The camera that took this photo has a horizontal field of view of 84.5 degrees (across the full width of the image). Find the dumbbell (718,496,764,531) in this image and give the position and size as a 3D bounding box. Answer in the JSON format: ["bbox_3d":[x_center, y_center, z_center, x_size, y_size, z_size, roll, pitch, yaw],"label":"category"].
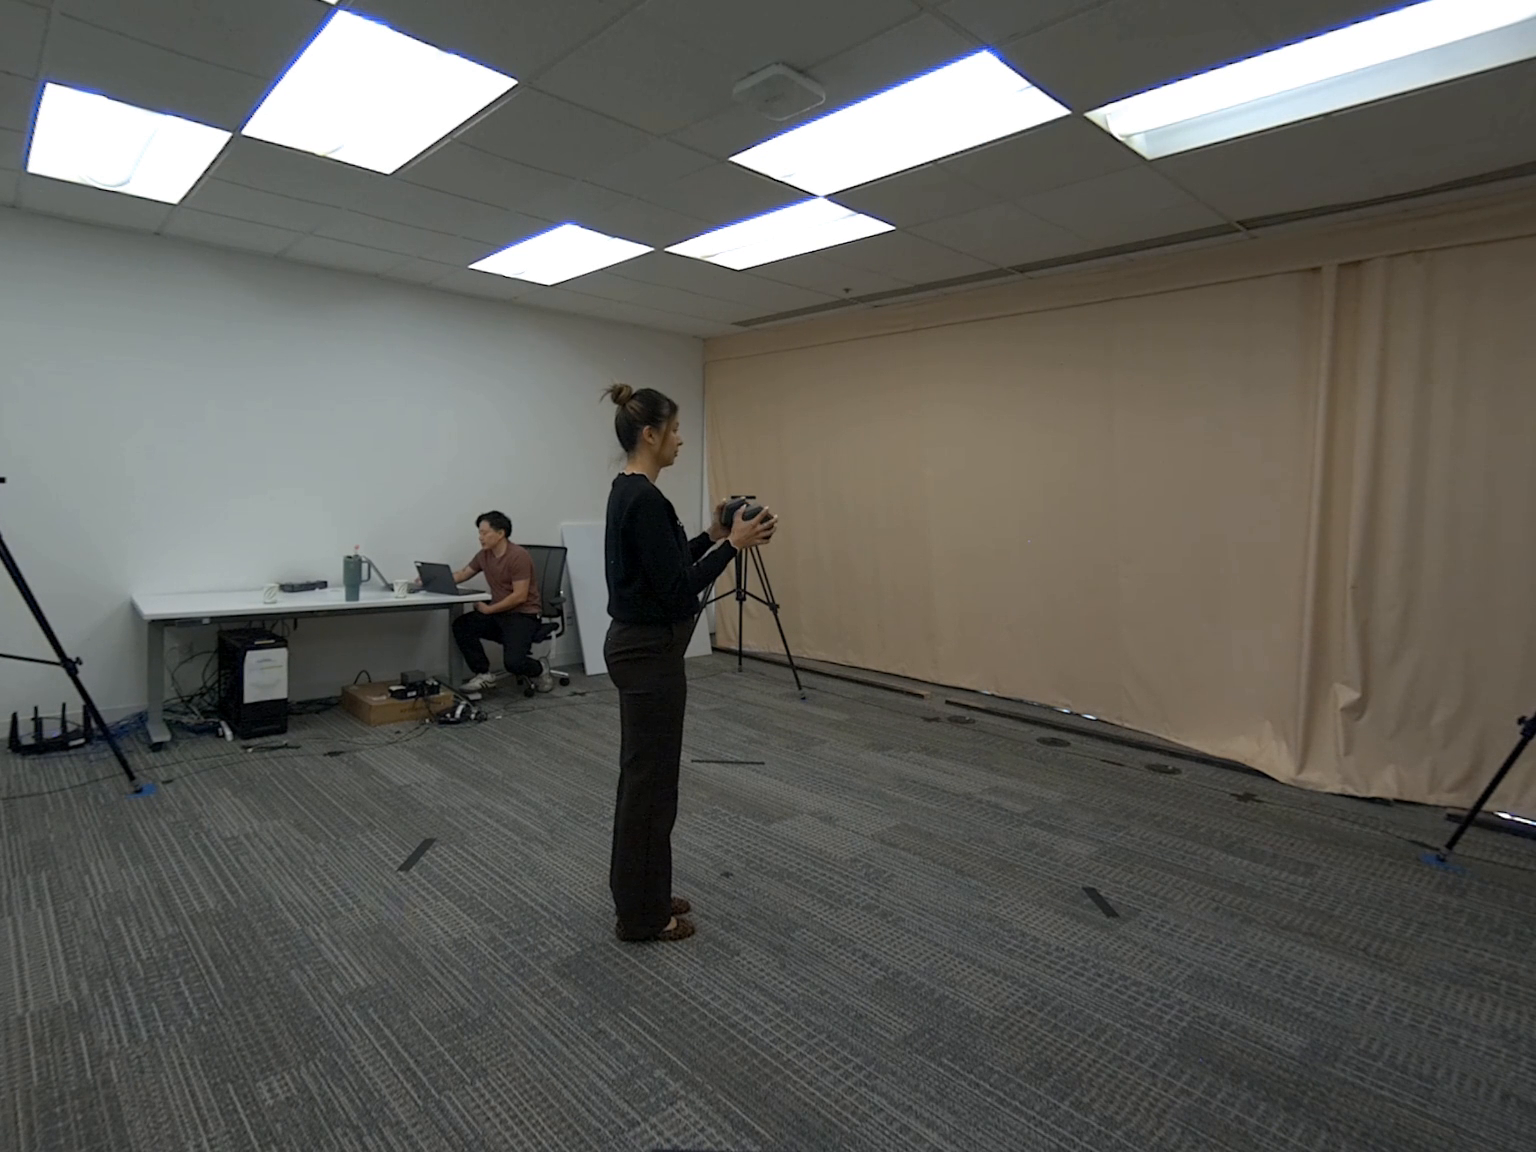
[{"bbox_3d":[-0.097,-0.177,2.712,0.122,0.107,0.298,-14,15,-6],"label":"dumbbell"}]
